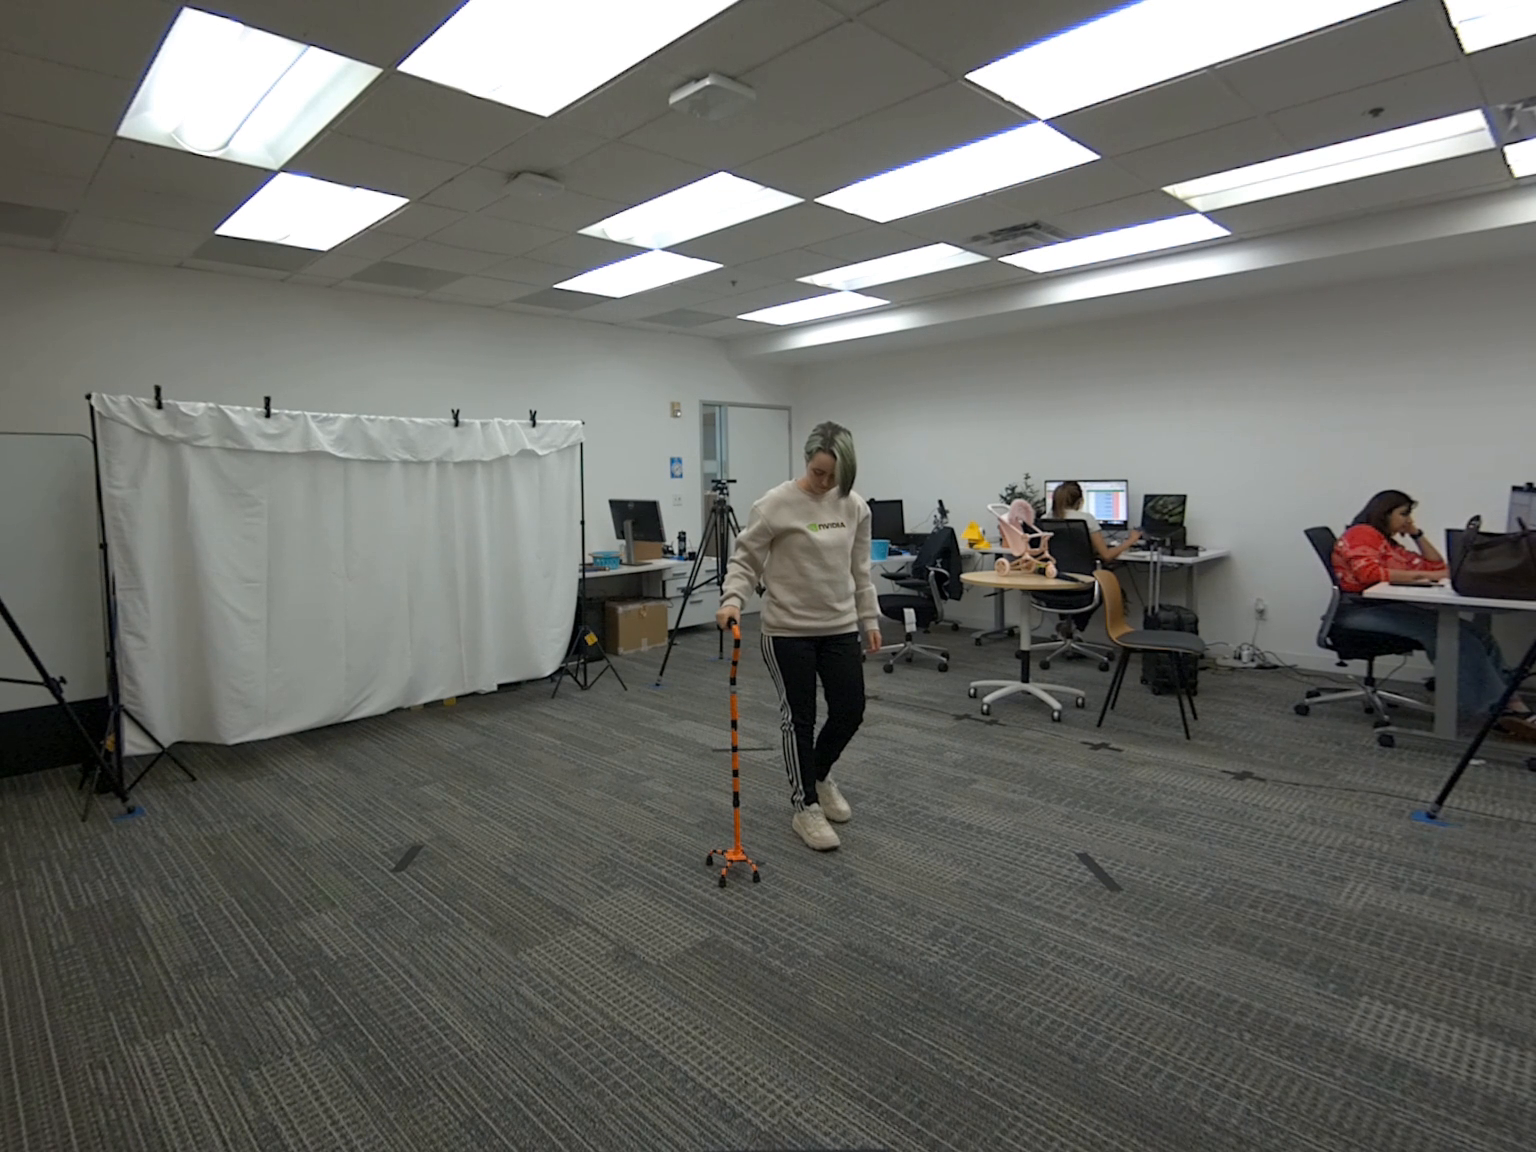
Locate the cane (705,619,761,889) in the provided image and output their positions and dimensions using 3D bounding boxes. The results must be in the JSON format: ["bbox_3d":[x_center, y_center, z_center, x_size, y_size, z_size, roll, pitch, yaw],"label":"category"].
[{"bbox_3d":[-0.135,0.607,3.020,0.149,0.905,0.210,-2,3,-18],"label":"cane"}]
